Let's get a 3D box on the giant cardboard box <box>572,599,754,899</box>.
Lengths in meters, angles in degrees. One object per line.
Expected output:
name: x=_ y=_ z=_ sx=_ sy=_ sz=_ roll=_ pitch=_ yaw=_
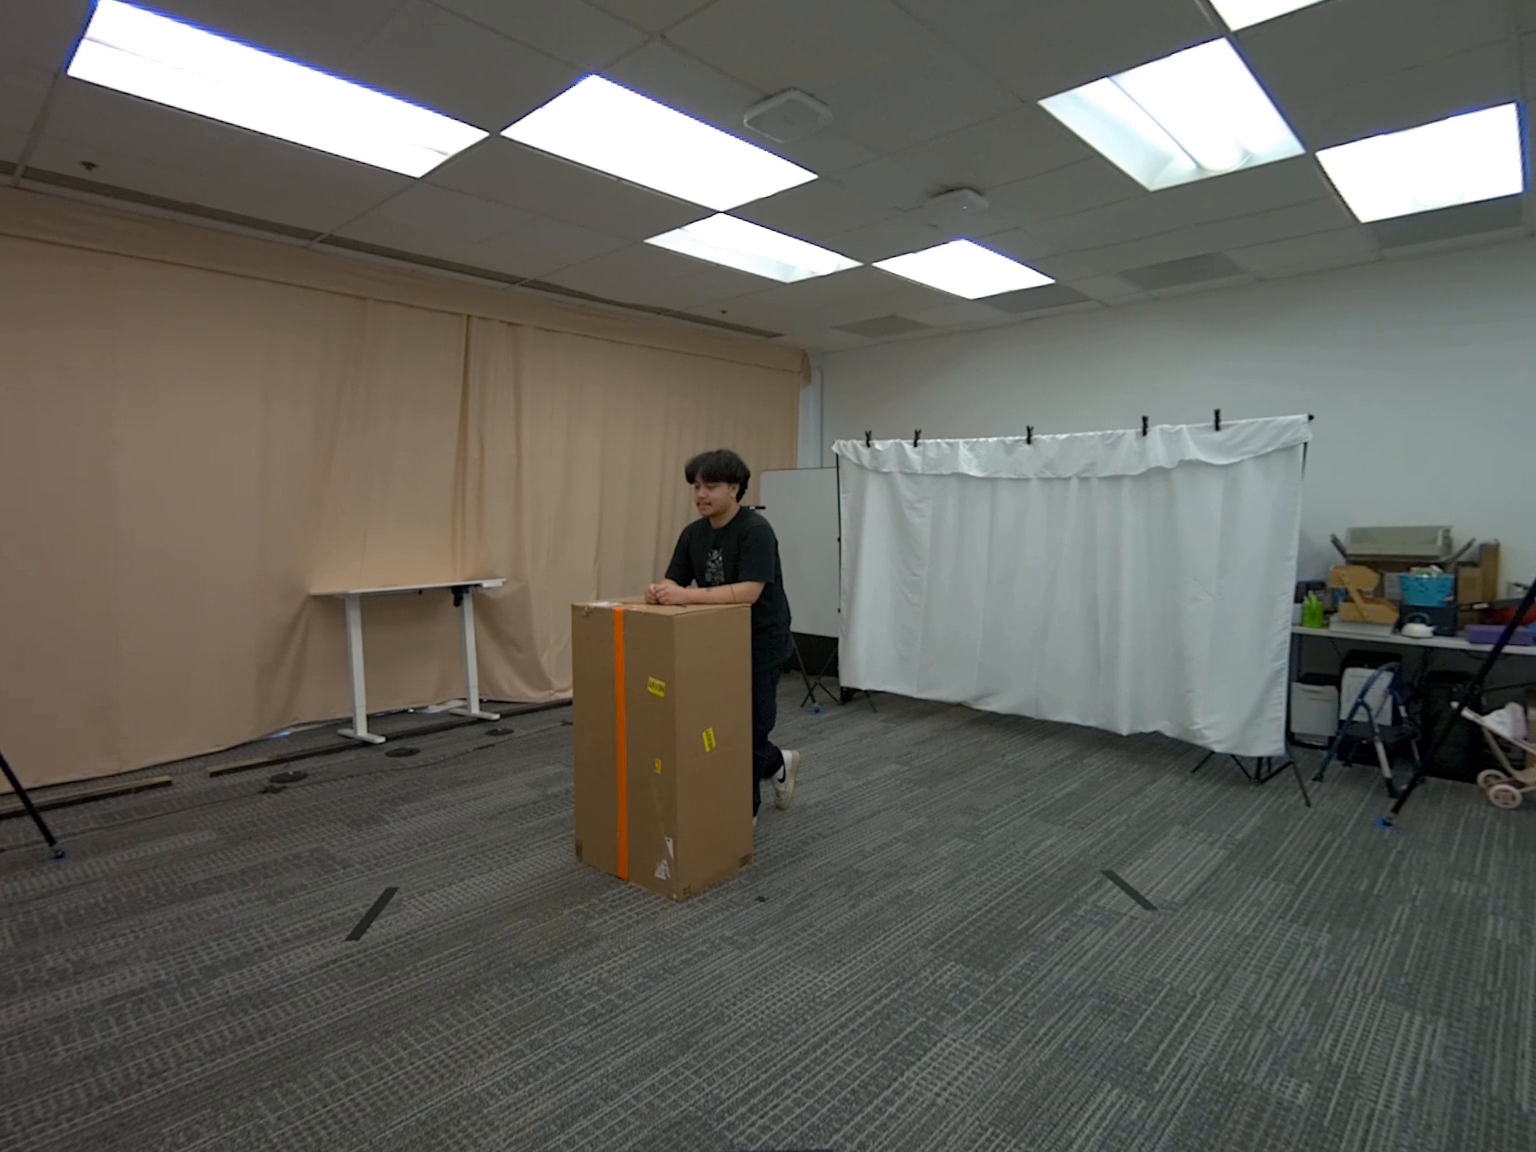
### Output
giant cardboard box: x=-0.420 y=0.614 z=3.282 sx=0.603 sy=1.025 sz=0.433 roll=2 pitch=4 yaw=41
